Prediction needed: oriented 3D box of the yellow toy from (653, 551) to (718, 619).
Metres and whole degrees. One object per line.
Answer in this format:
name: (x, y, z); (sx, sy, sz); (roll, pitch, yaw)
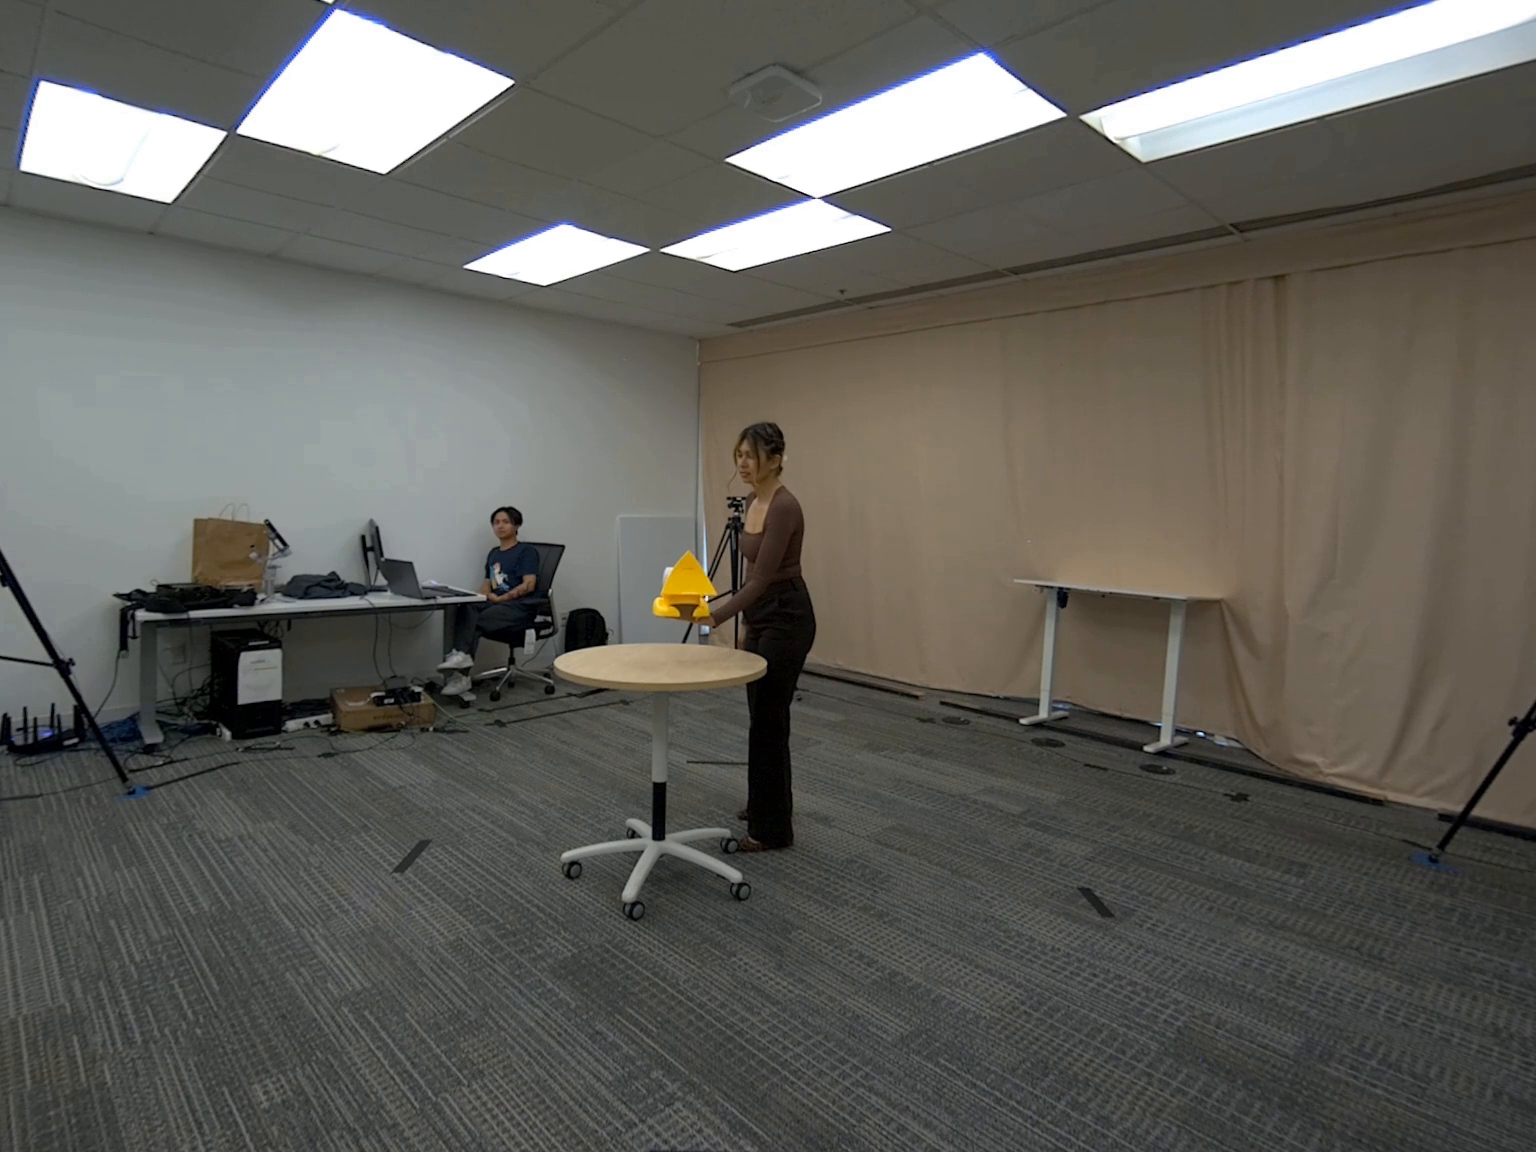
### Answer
yellow toy: (-0.311, 0.022, 3.000); (0.201, 0.230, 0.196); (2, 3, -21)
